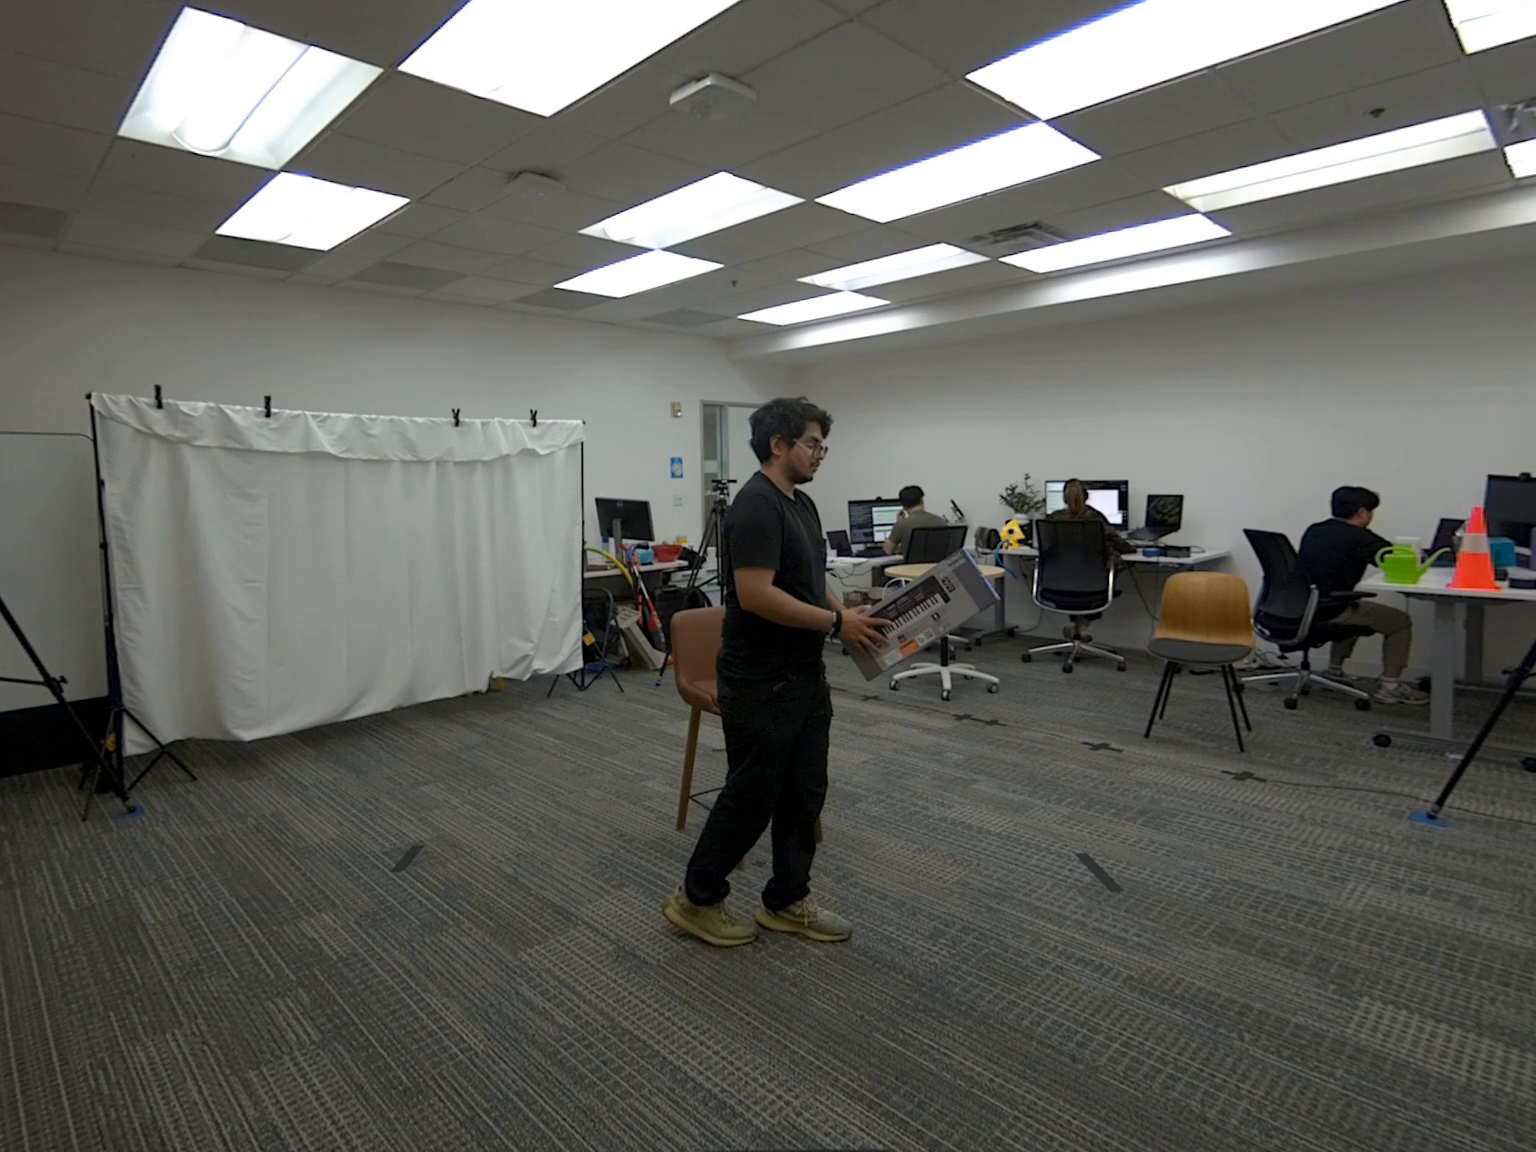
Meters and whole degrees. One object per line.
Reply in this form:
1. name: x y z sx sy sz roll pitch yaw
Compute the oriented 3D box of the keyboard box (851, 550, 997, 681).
1. keyboard box: 0.417 0.115 2.411 0.439 0.178 0.058 -35 -8 18
